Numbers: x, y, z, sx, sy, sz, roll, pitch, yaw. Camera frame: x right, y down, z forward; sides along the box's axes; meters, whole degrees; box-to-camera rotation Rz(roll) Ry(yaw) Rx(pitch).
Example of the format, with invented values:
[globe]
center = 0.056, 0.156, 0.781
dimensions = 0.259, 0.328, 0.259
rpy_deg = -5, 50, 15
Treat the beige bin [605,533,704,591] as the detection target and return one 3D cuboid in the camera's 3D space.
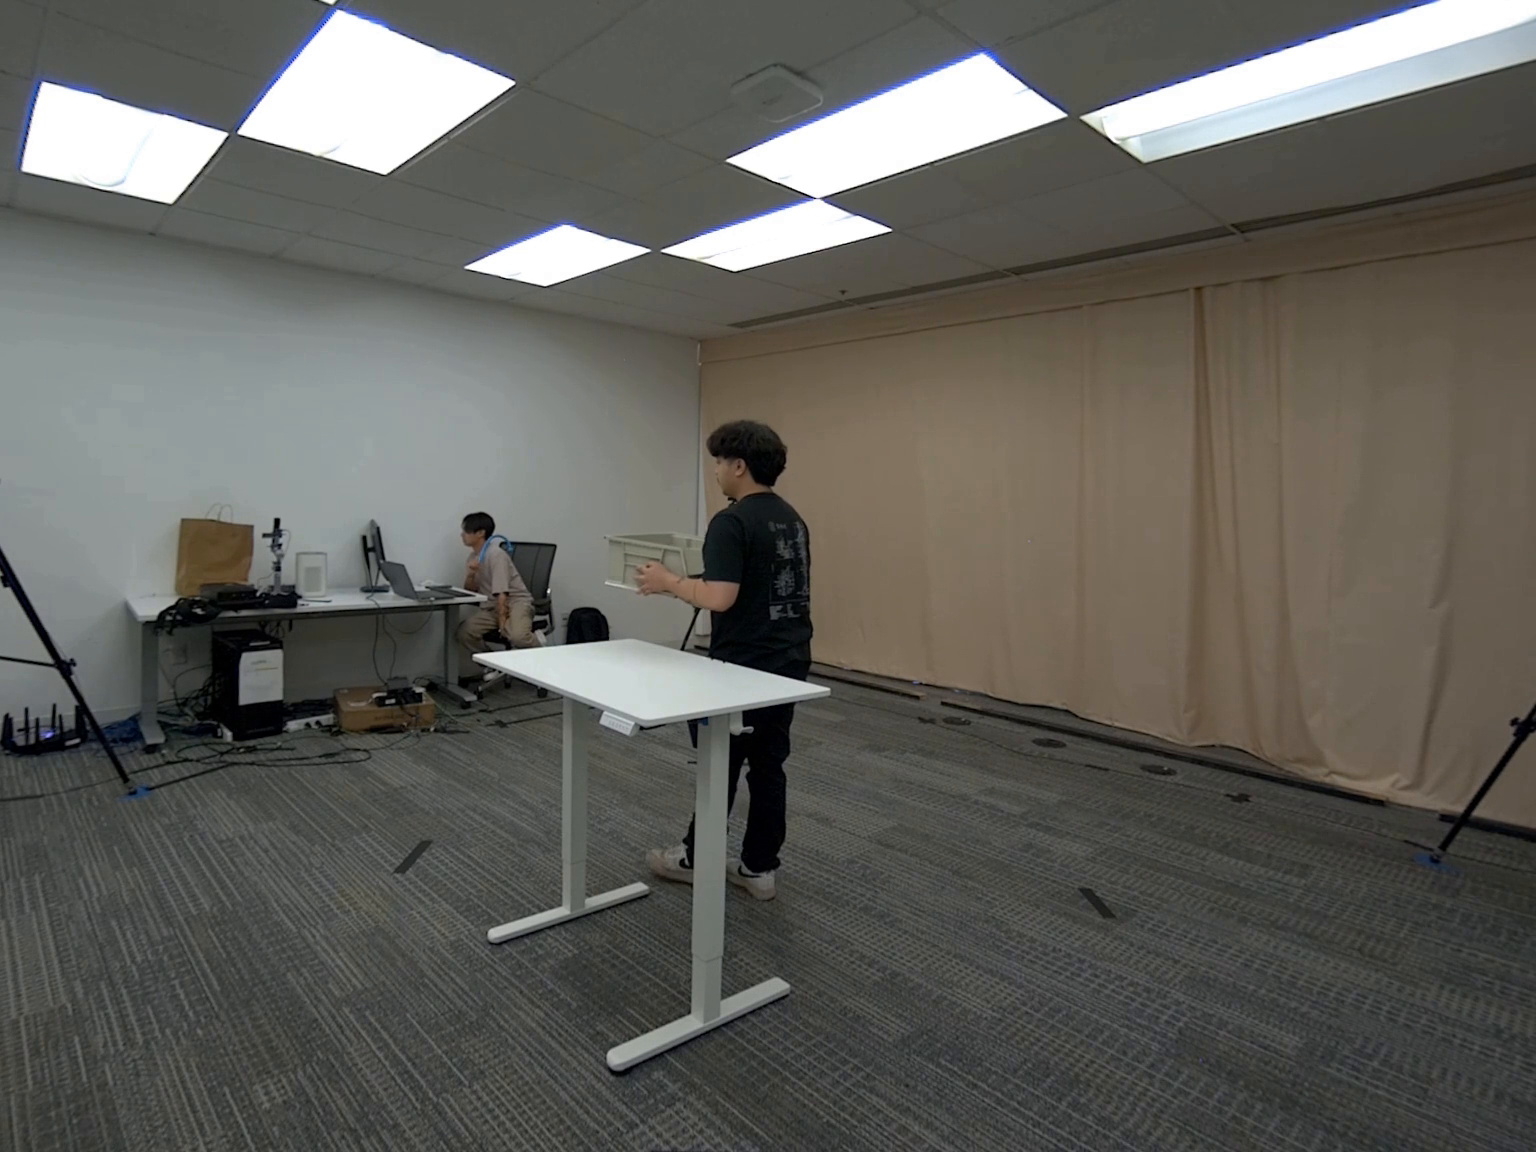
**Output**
[beige bin]
center = -0.342, -0.043, 3.138
dimensions = 0.386, 0.188, 0.414
rpy_deg = 9, 9, 29
